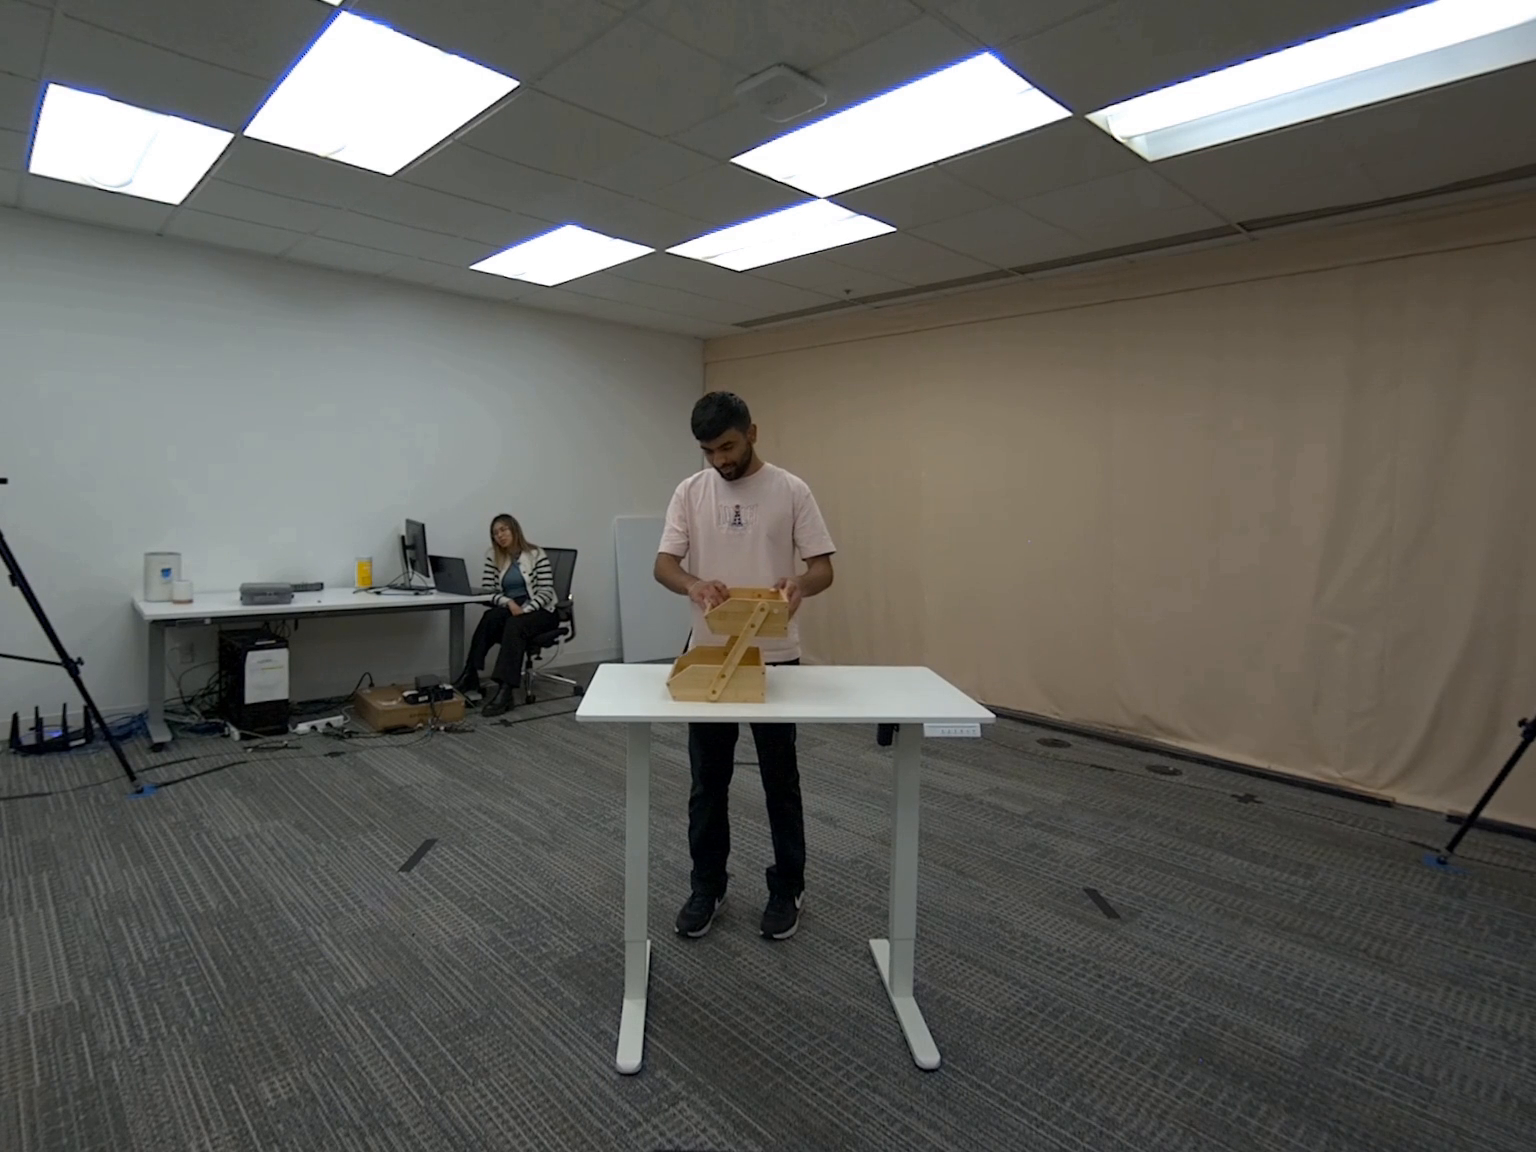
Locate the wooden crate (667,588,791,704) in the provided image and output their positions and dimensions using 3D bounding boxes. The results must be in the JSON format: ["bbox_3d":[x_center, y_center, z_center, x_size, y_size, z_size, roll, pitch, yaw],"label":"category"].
[{"bbox_3d":[-0.122,0.177,2.235,0.302,0.272,0.325,2,4,-1],"label":"wooden crate"}]
